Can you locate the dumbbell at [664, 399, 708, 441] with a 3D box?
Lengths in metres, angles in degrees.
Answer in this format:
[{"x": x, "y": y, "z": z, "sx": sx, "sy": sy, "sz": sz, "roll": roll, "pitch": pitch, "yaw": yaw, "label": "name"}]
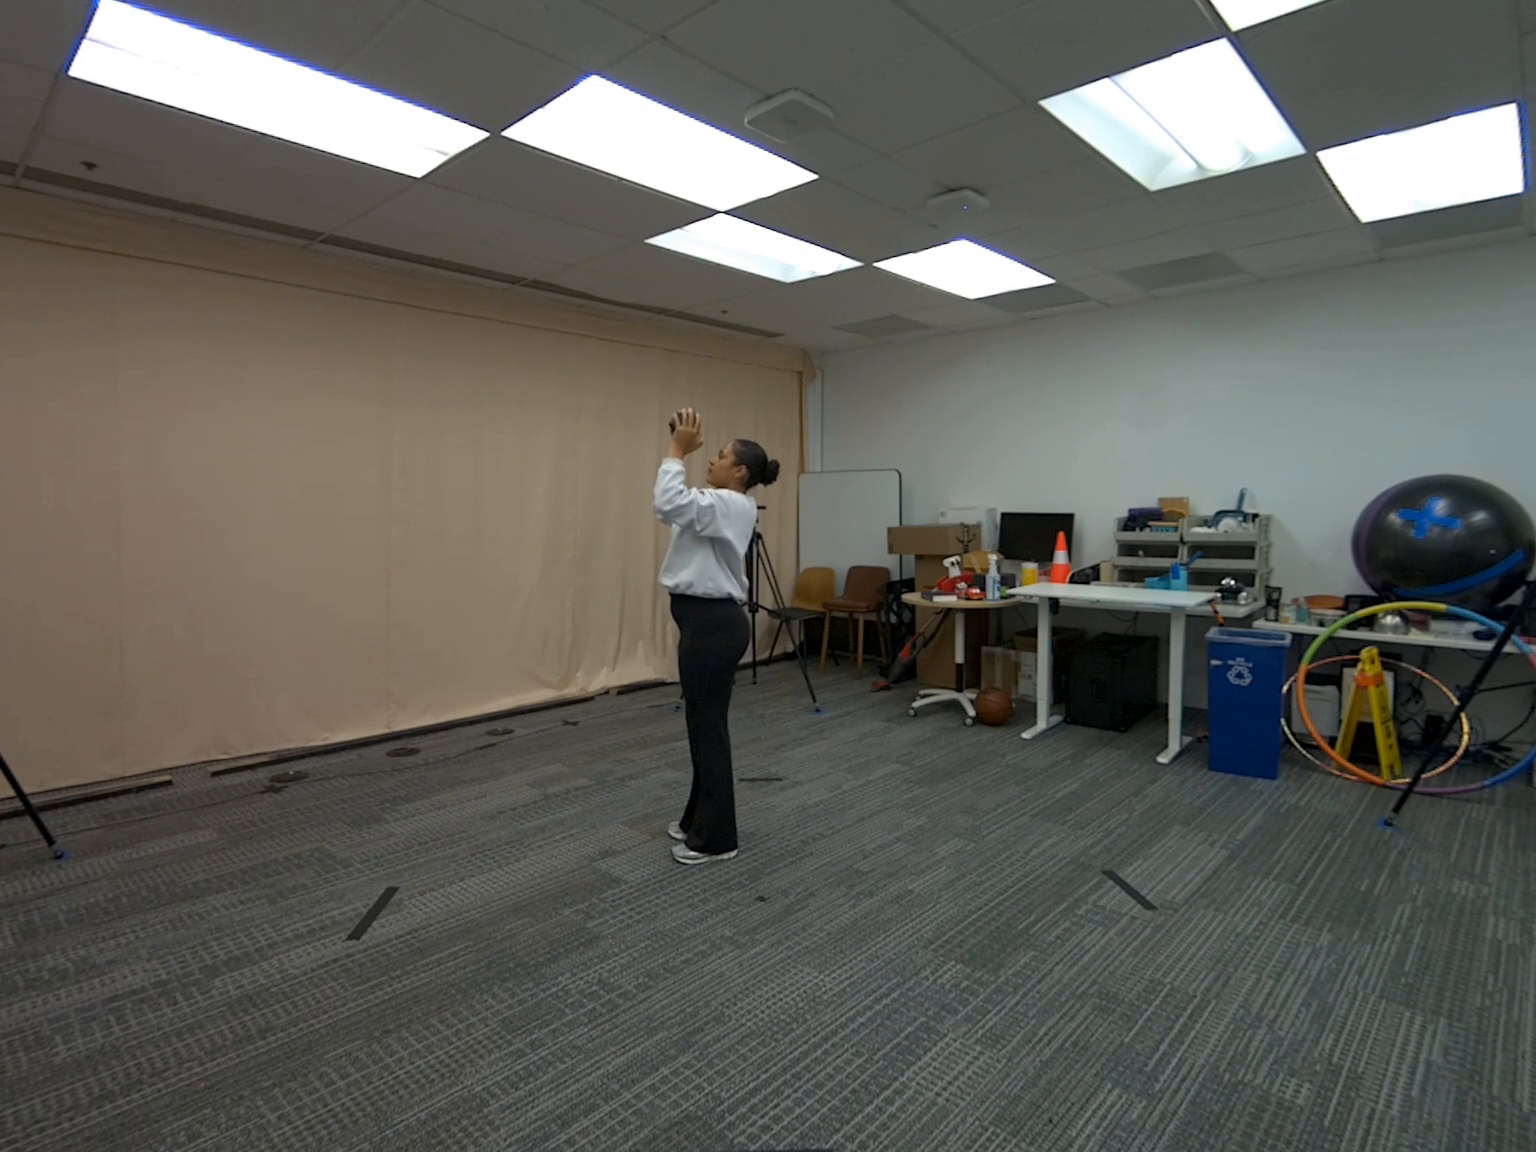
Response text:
[{"x": -0.322, "y": -0.589, "z": 3.335, "sx": 0.108, "sy": 0.123, "sz": 0.294, "roll": -33, "pitch": 3, "yaw": -2, "label": "dumbbell"}]
